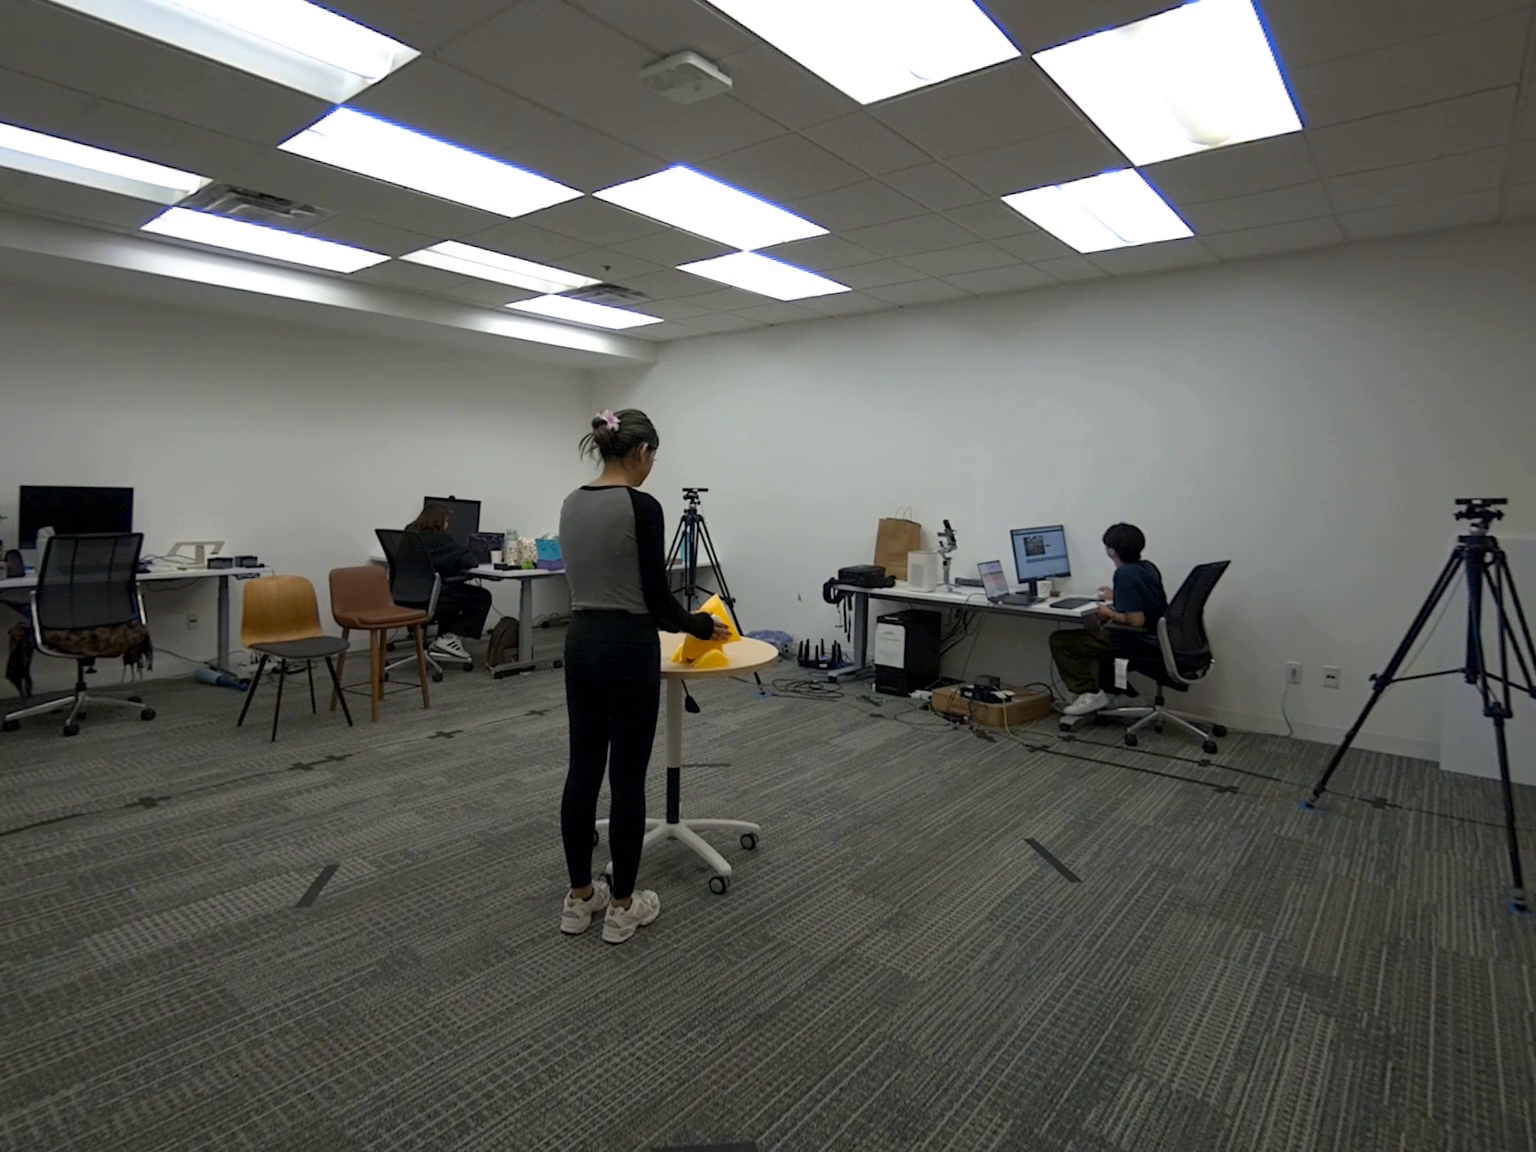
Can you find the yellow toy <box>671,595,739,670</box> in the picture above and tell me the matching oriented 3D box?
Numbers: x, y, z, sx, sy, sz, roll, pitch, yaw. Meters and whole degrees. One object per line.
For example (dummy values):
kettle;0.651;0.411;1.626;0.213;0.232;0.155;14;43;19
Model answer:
yellow toy;-0.239;0.181;2.937;0.187;0.229;0.212;-6;9;-44
